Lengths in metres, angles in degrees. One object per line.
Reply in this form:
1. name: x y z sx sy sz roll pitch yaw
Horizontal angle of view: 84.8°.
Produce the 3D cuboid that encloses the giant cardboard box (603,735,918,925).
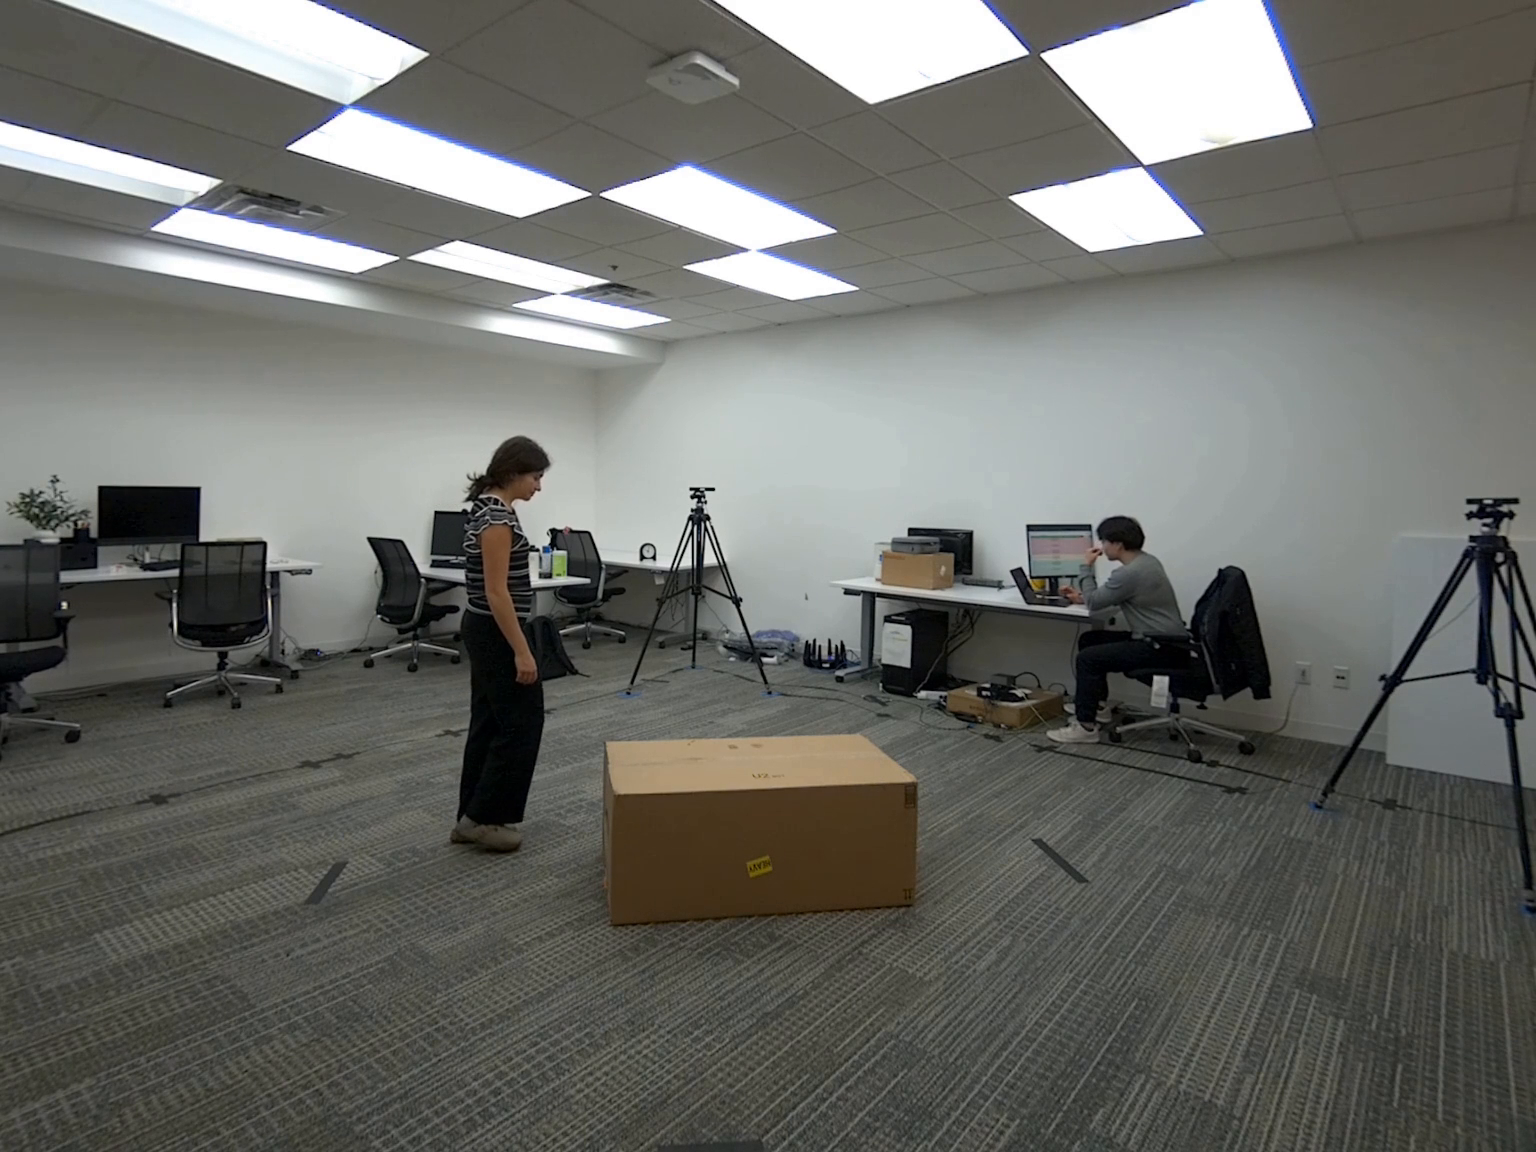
1. giant cardboard box: -0.070 0.863 3.038 1.014 0.425 0.586 0 4 -11
